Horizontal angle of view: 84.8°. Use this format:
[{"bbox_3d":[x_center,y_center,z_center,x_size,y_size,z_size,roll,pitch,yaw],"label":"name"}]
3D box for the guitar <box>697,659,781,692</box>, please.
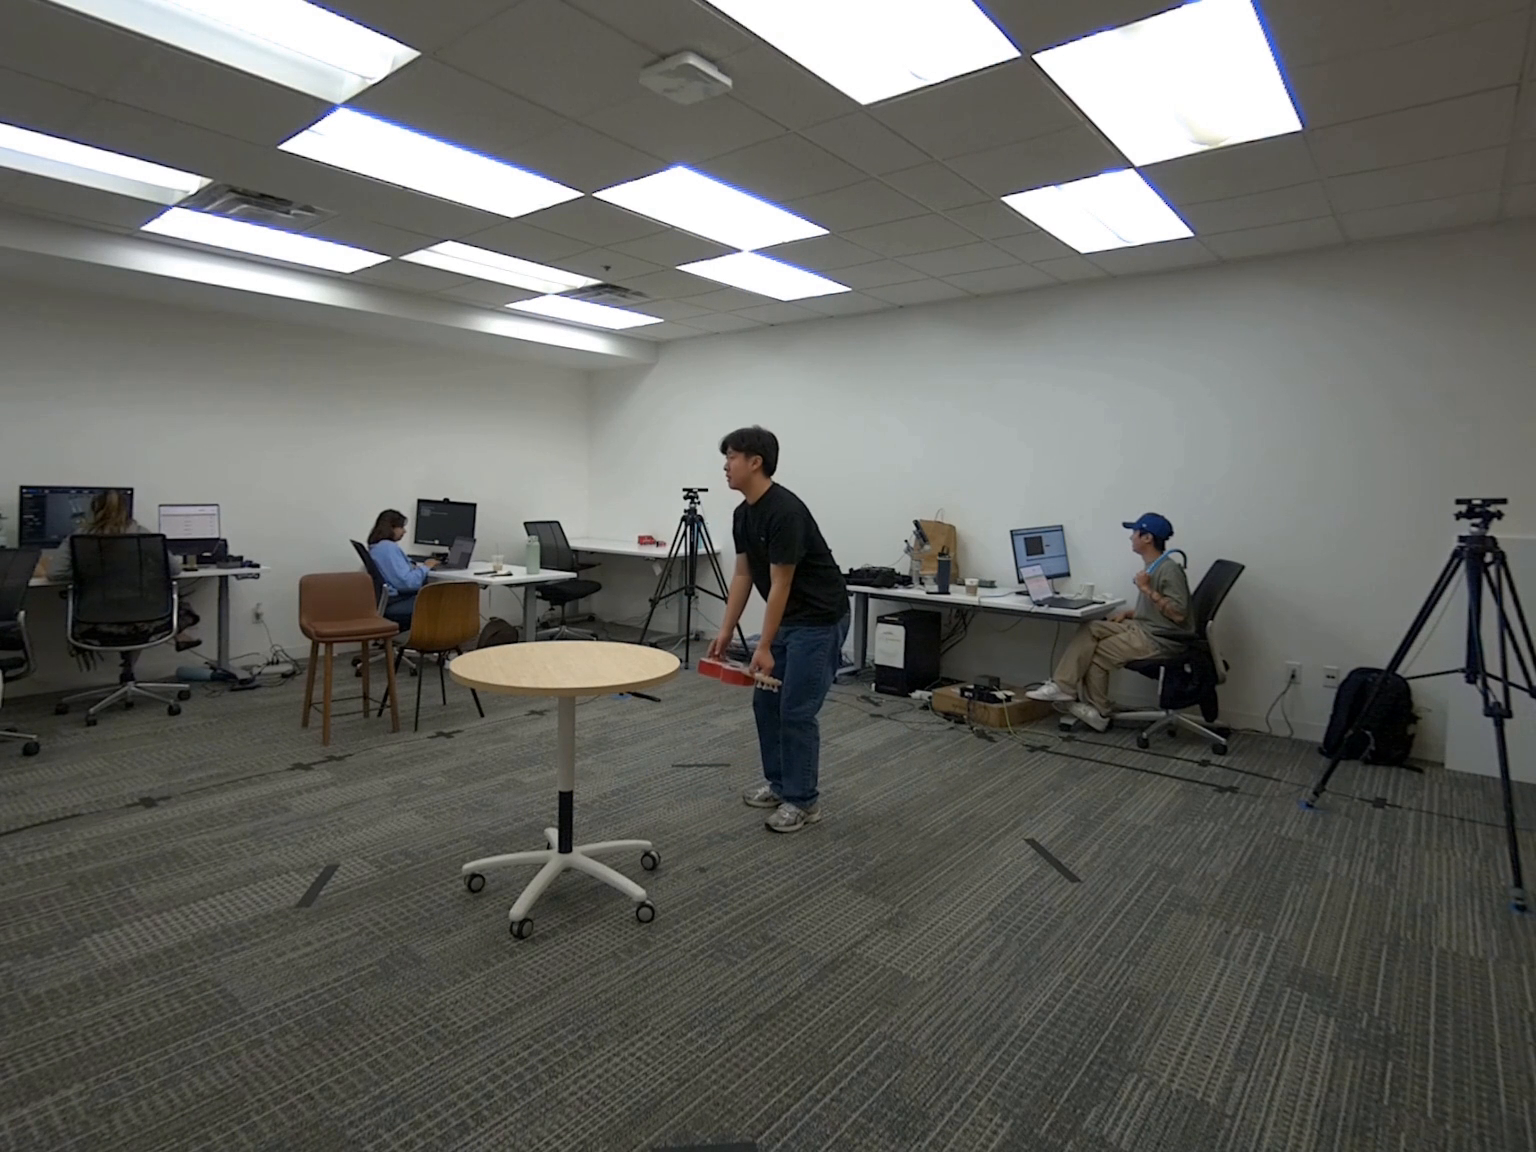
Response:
[{"bbox_3d":[-0.147,0.399,3.428,0.189,0.071,0.507,8,2,-18],"label":"guitar"}]
